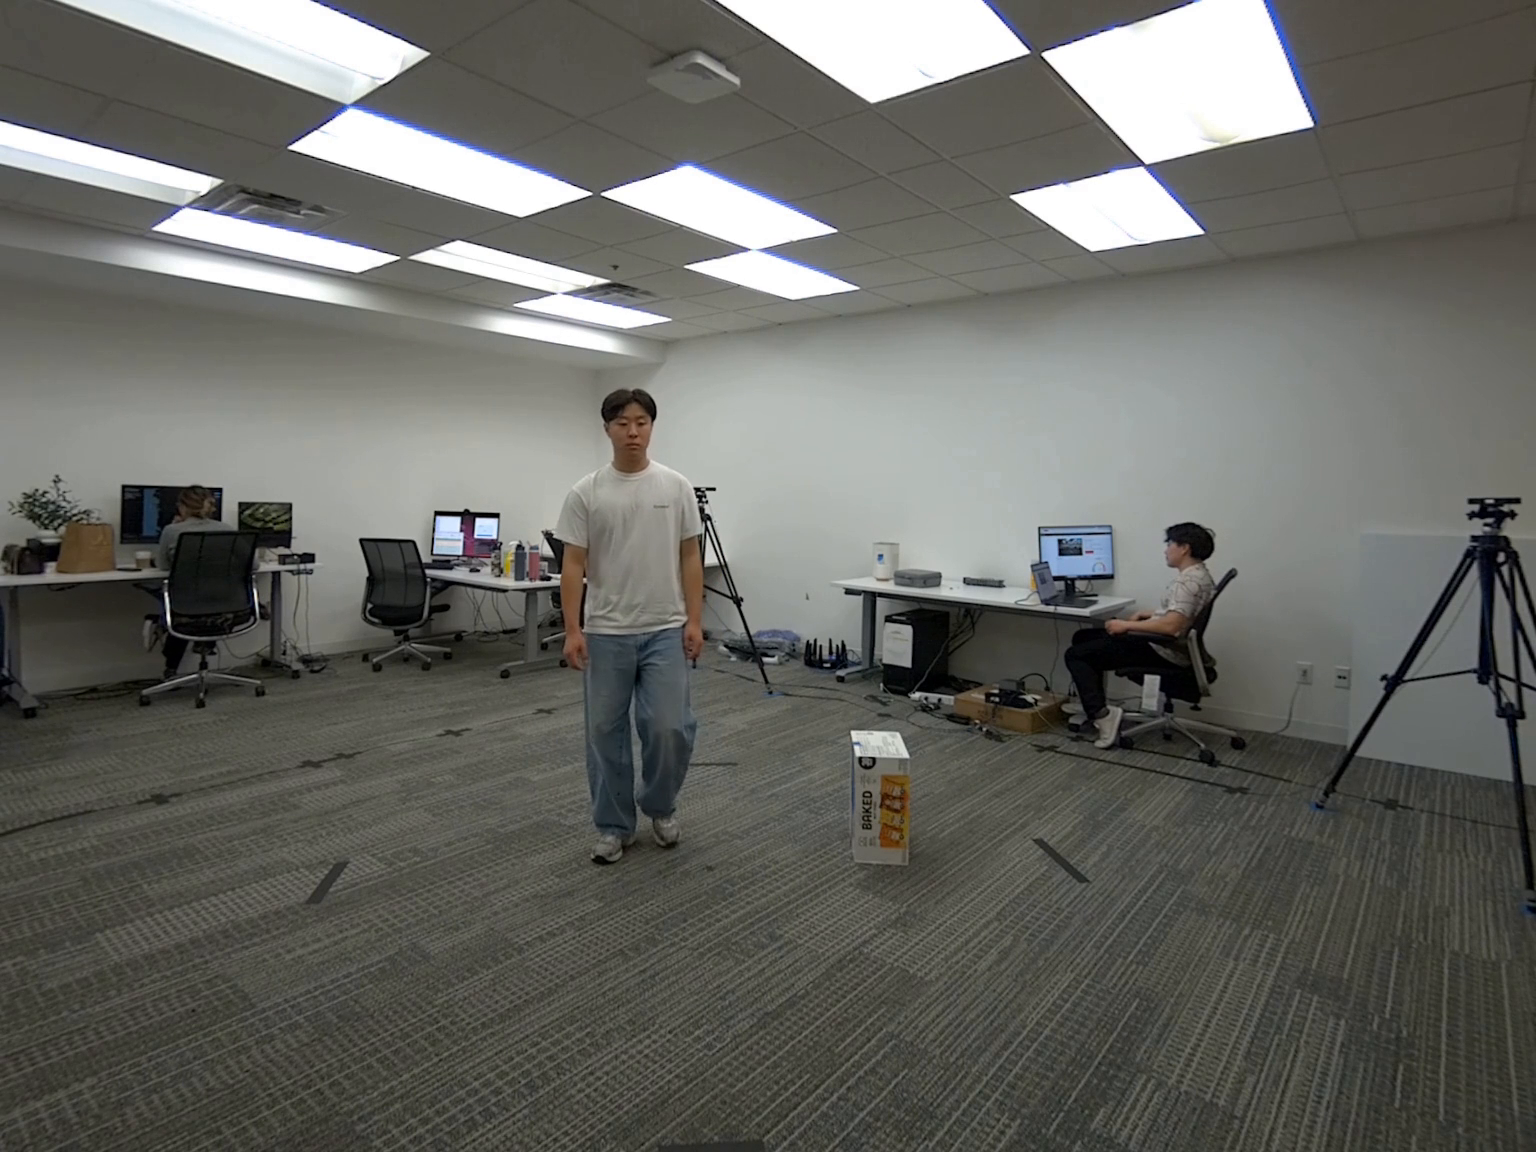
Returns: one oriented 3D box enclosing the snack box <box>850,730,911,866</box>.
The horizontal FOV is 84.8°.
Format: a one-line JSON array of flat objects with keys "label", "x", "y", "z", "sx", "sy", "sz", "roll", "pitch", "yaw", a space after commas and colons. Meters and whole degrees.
[{"label": "snack box", "x": 0.427, "y": 0.860, "z": 3.342, "sx": 0.207, "sy": 0.404, "sz": 0.340, "roll": 0, "pitch": 4, "yaw": 3}]
